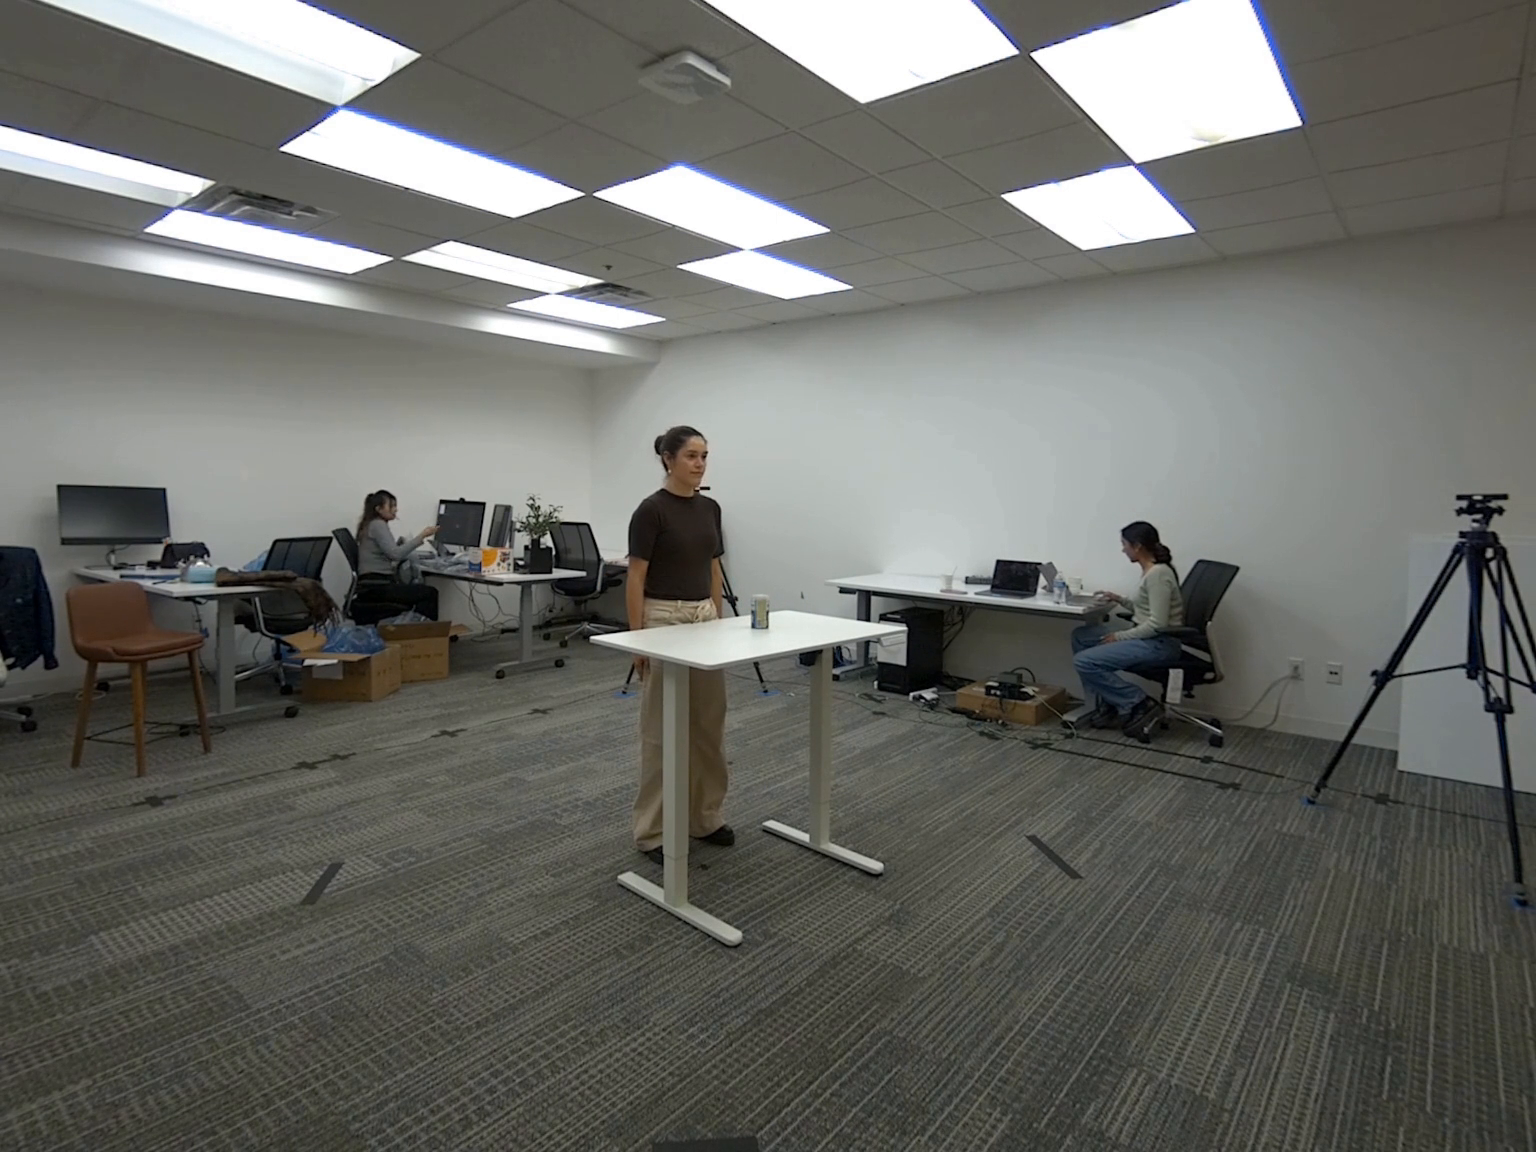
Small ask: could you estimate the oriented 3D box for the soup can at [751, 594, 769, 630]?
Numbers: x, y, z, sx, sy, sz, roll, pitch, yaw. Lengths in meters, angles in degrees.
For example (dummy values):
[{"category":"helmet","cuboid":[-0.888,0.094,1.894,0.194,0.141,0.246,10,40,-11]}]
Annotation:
[{"category":"soup can","cuboid":[-0.044,0.131,3.084,0.067,0.121,0.067,0,1,-2]}]
